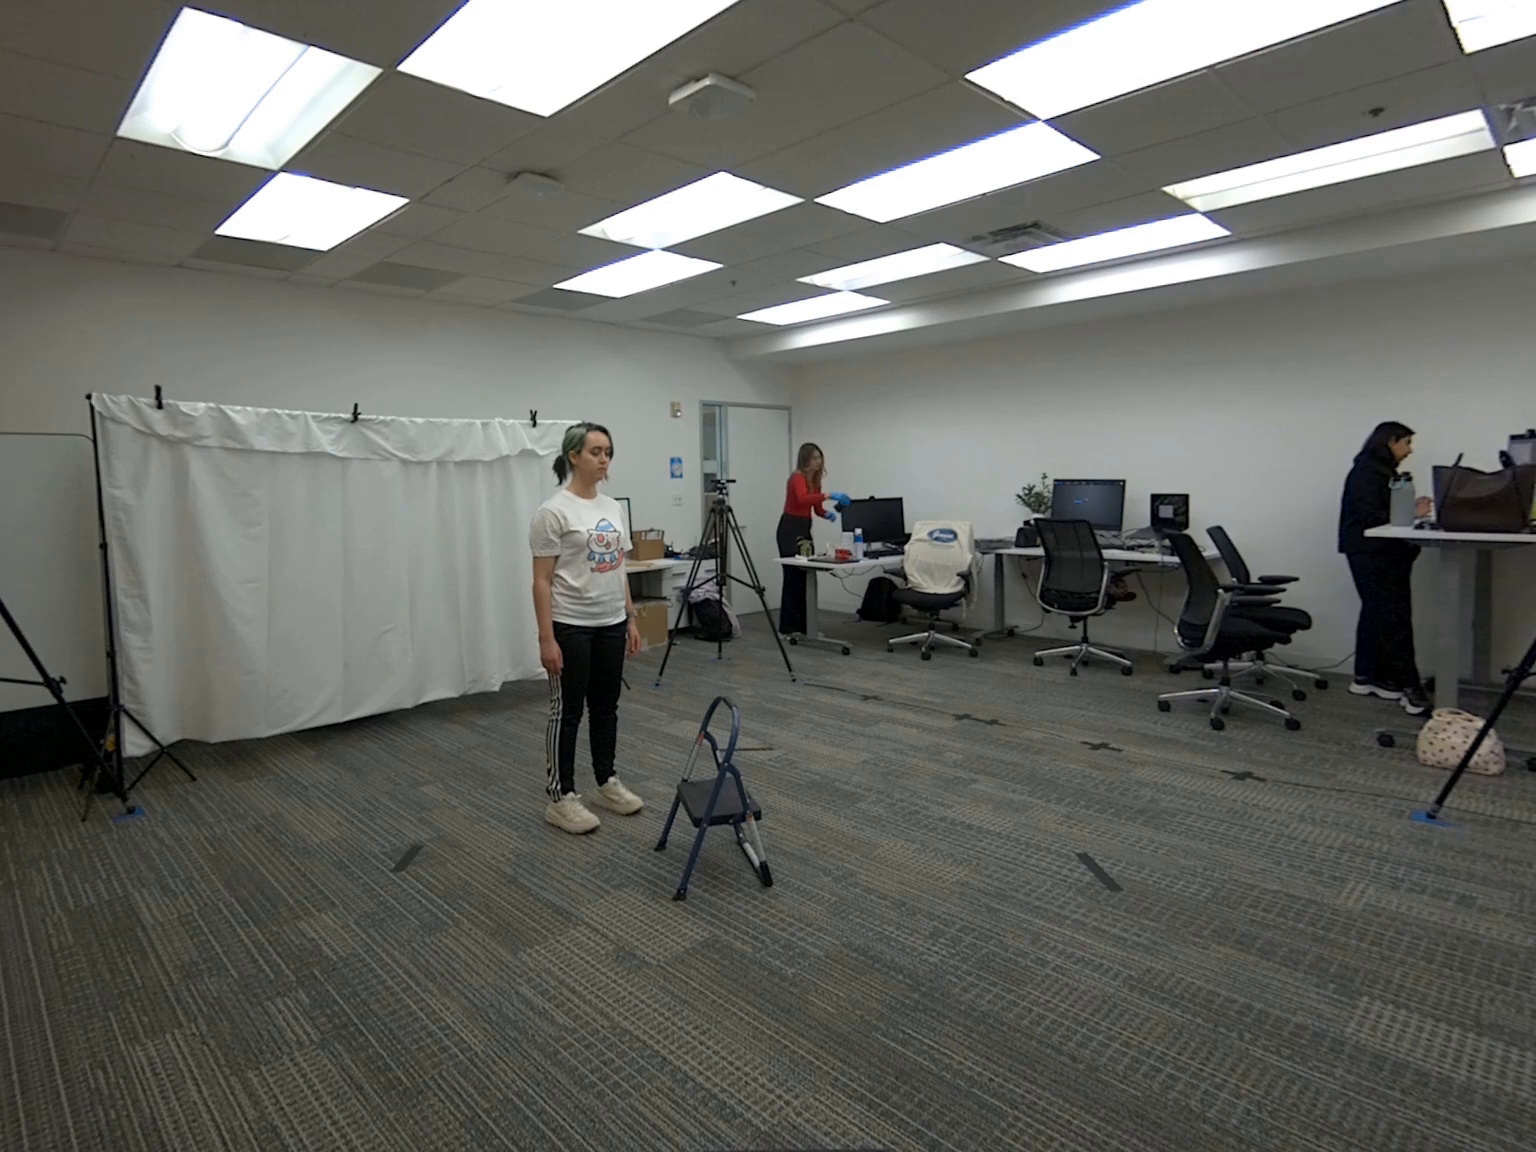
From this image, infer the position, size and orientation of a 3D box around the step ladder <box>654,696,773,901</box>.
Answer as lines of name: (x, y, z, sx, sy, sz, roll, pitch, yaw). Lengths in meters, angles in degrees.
step ladder: (-0.206, 0.753, 3.069, 0.344, 0.604, 0.438, -2, 5, -16)
